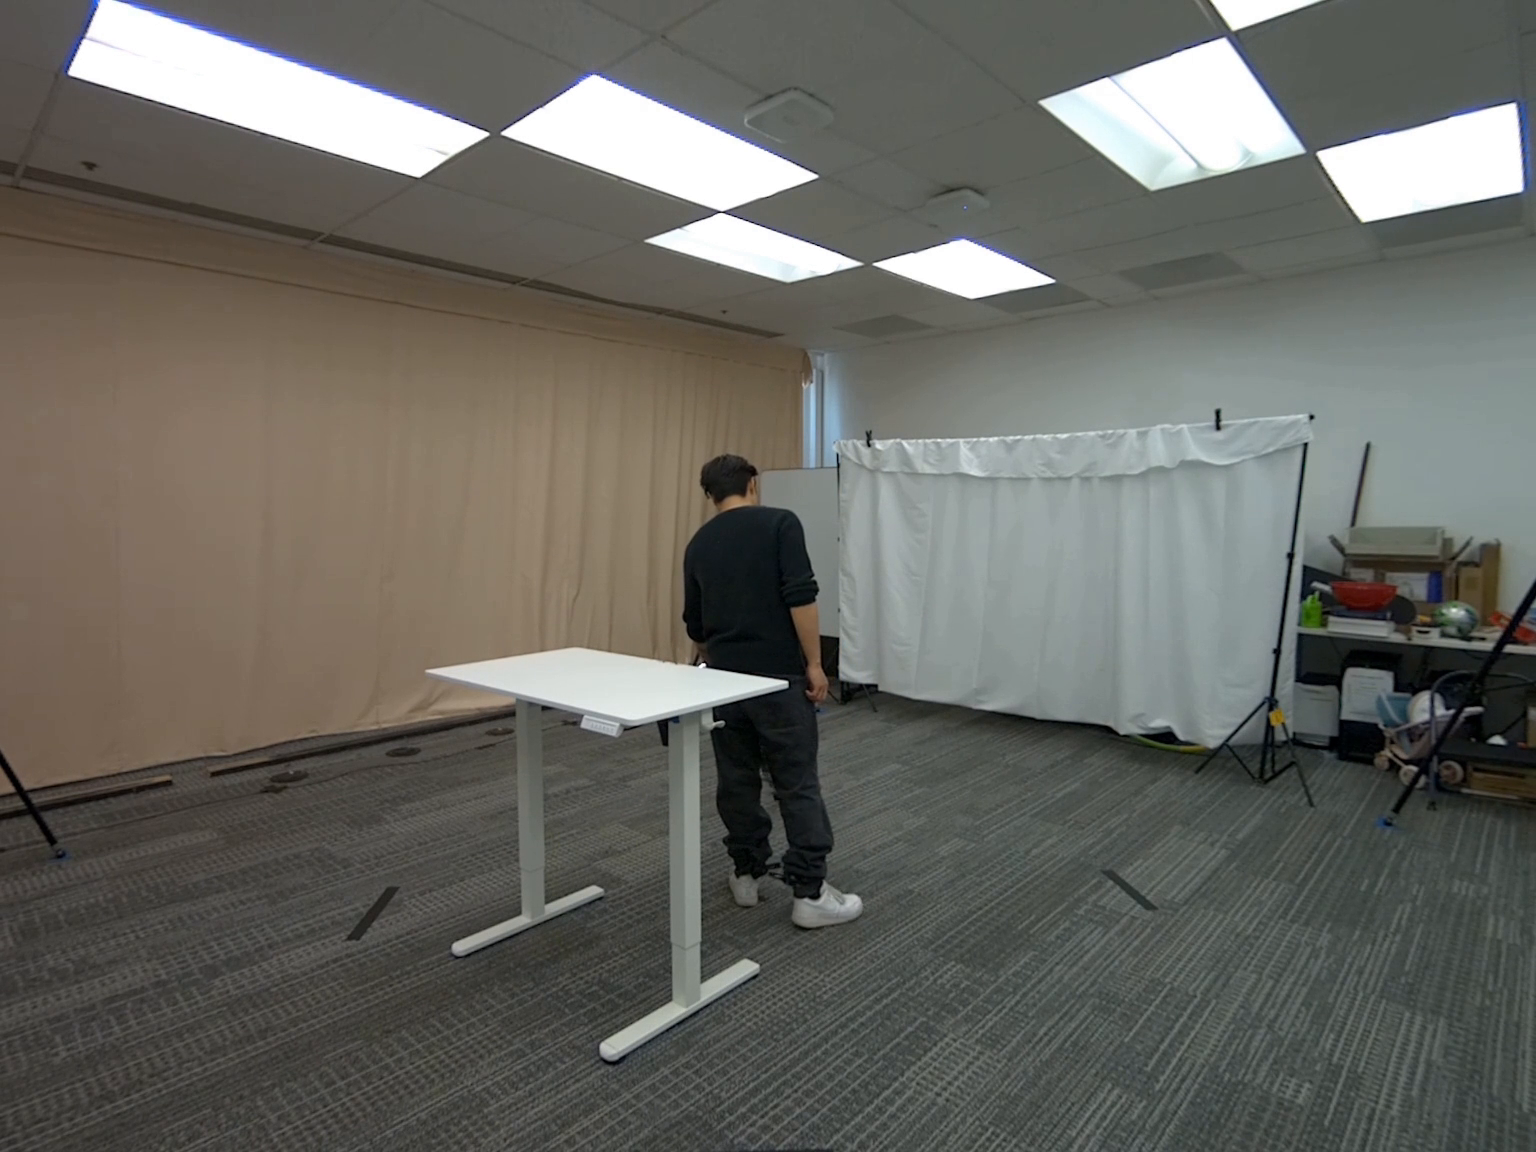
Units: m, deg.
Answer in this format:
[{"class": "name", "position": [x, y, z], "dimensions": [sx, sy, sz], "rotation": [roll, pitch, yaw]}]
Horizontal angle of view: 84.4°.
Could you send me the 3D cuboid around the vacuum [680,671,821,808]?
[{"class": "vacuum", "position": [-0.047, 0.732, 3.645], "dimensions": [0.258, 0.145, 1.016], "rotation": [0, -36, 23]}]
